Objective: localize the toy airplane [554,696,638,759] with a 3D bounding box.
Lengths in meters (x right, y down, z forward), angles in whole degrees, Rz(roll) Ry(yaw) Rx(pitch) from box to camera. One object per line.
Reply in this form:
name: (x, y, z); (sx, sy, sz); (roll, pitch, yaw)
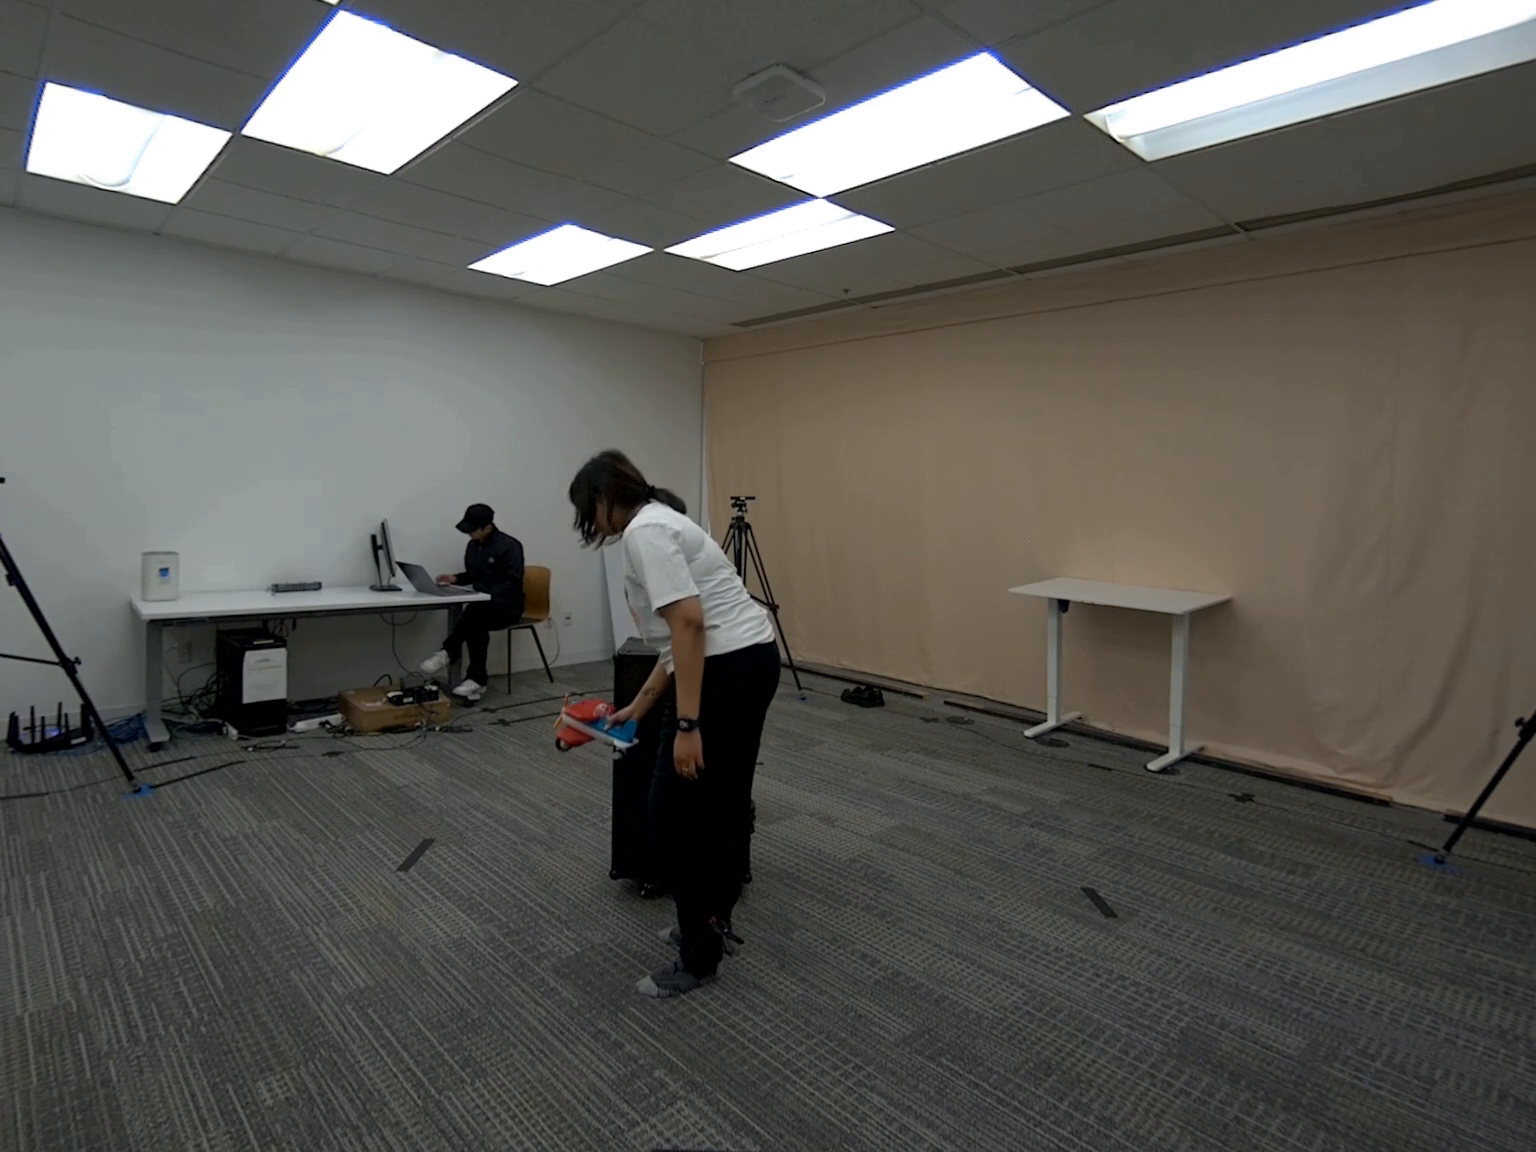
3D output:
toy airplane: (-0.545, 0.491, 2.671); (0.257, 0.157, 0.253); (6, -2, -11)
